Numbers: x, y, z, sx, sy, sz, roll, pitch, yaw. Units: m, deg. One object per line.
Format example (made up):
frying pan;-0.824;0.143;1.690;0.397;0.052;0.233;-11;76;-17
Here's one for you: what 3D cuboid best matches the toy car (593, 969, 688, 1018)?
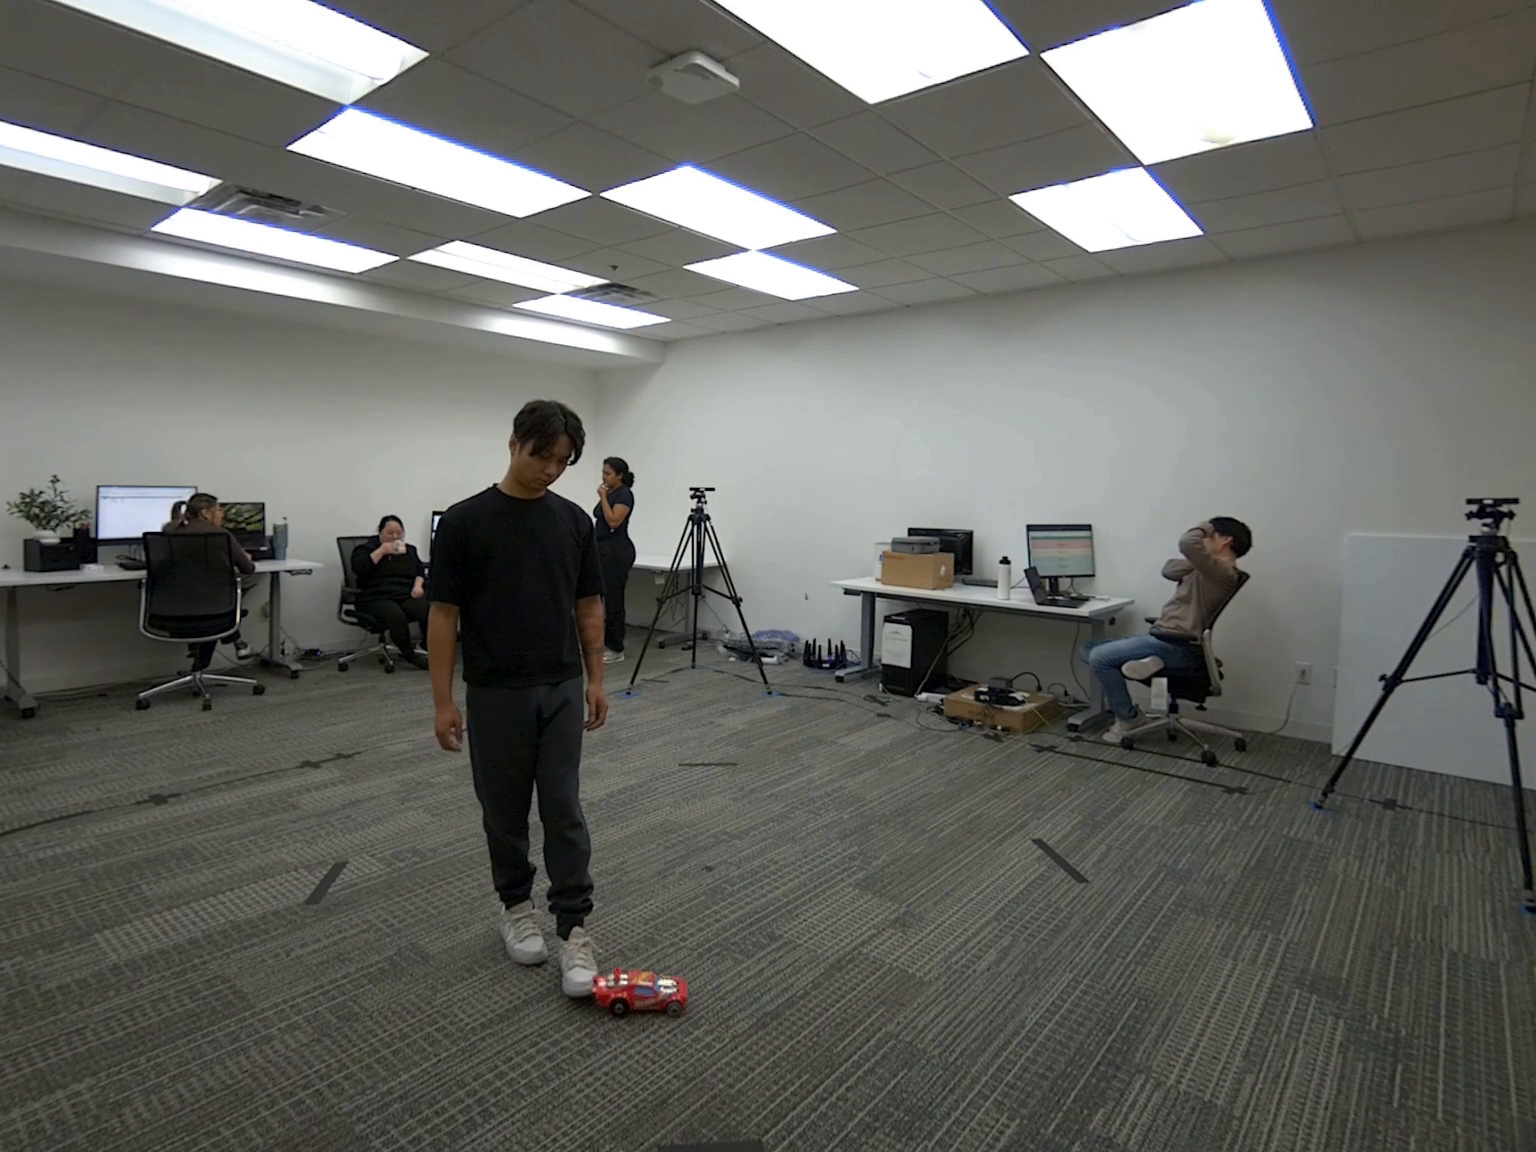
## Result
toy car;-0.348;1.113;2.278;0.253;0.083;0.131;13;3;-5
